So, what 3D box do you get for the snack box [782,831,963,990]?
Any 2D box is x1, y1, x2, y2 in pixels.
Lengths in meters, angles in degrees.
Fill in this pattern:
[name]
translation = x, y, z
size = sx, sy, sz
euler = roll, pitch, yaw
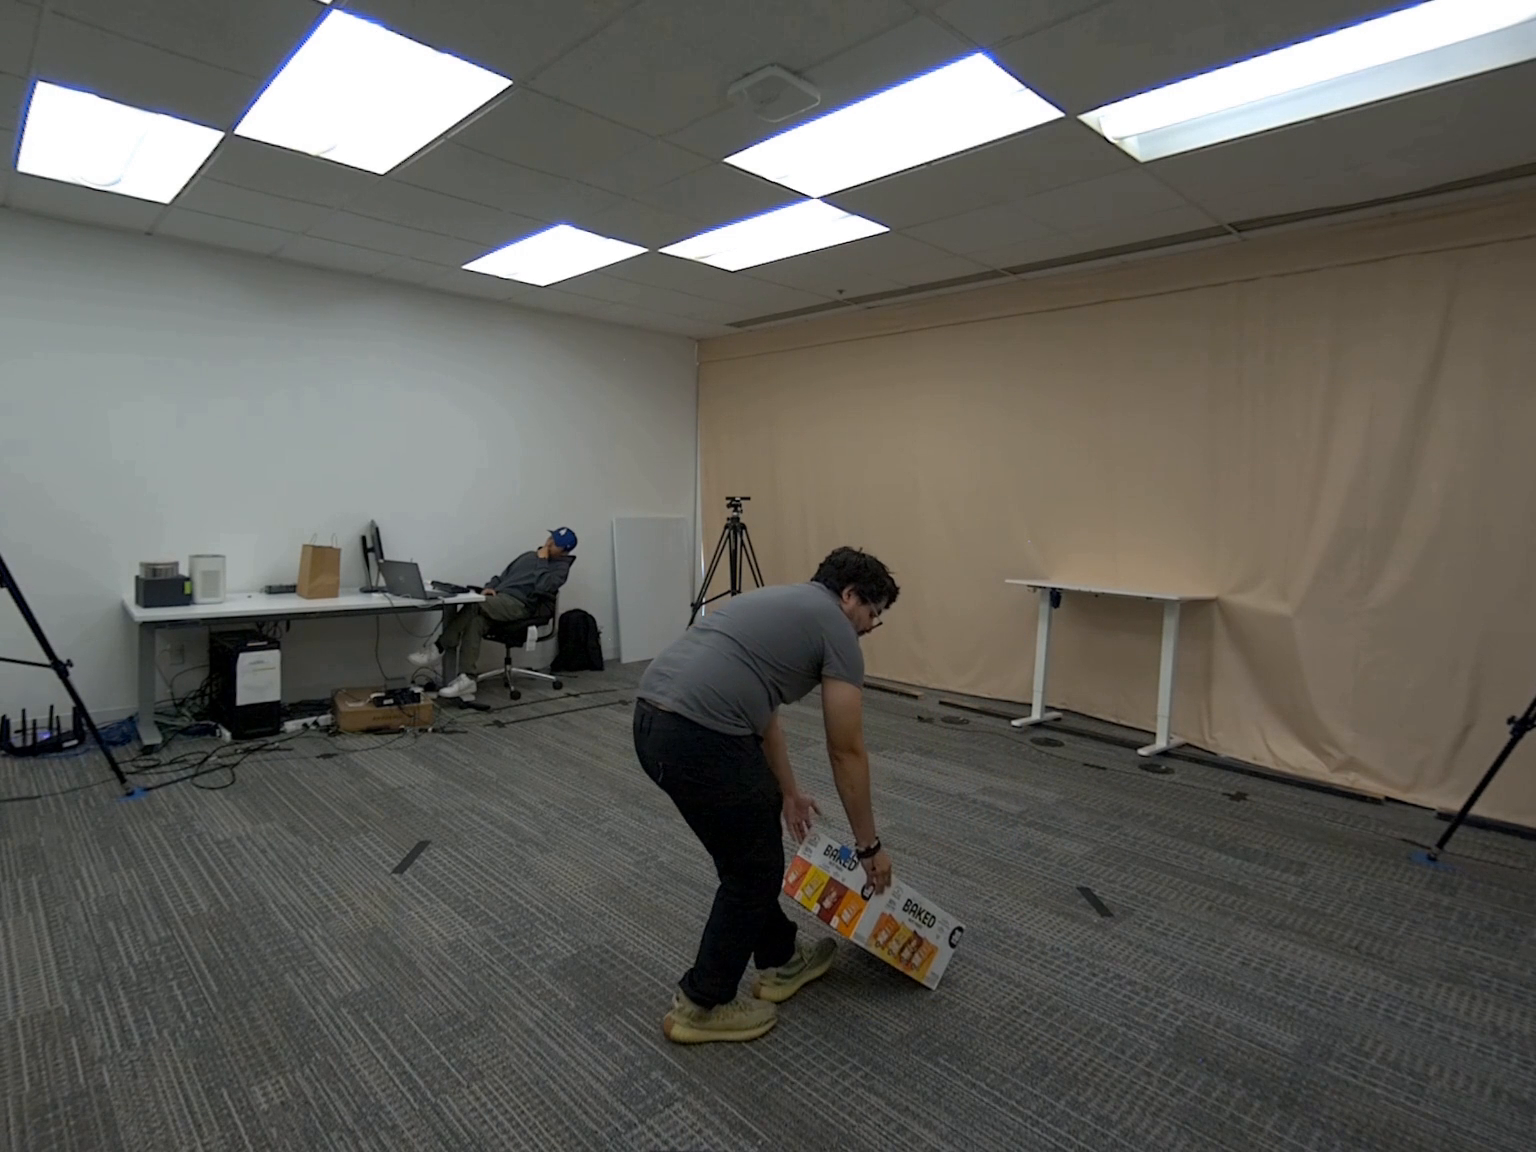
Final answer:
[snack box]
translation = 0.299, 0.978, 2.480
size = 0.394, 0.206, 0.349
euler = 41, -16, -29
